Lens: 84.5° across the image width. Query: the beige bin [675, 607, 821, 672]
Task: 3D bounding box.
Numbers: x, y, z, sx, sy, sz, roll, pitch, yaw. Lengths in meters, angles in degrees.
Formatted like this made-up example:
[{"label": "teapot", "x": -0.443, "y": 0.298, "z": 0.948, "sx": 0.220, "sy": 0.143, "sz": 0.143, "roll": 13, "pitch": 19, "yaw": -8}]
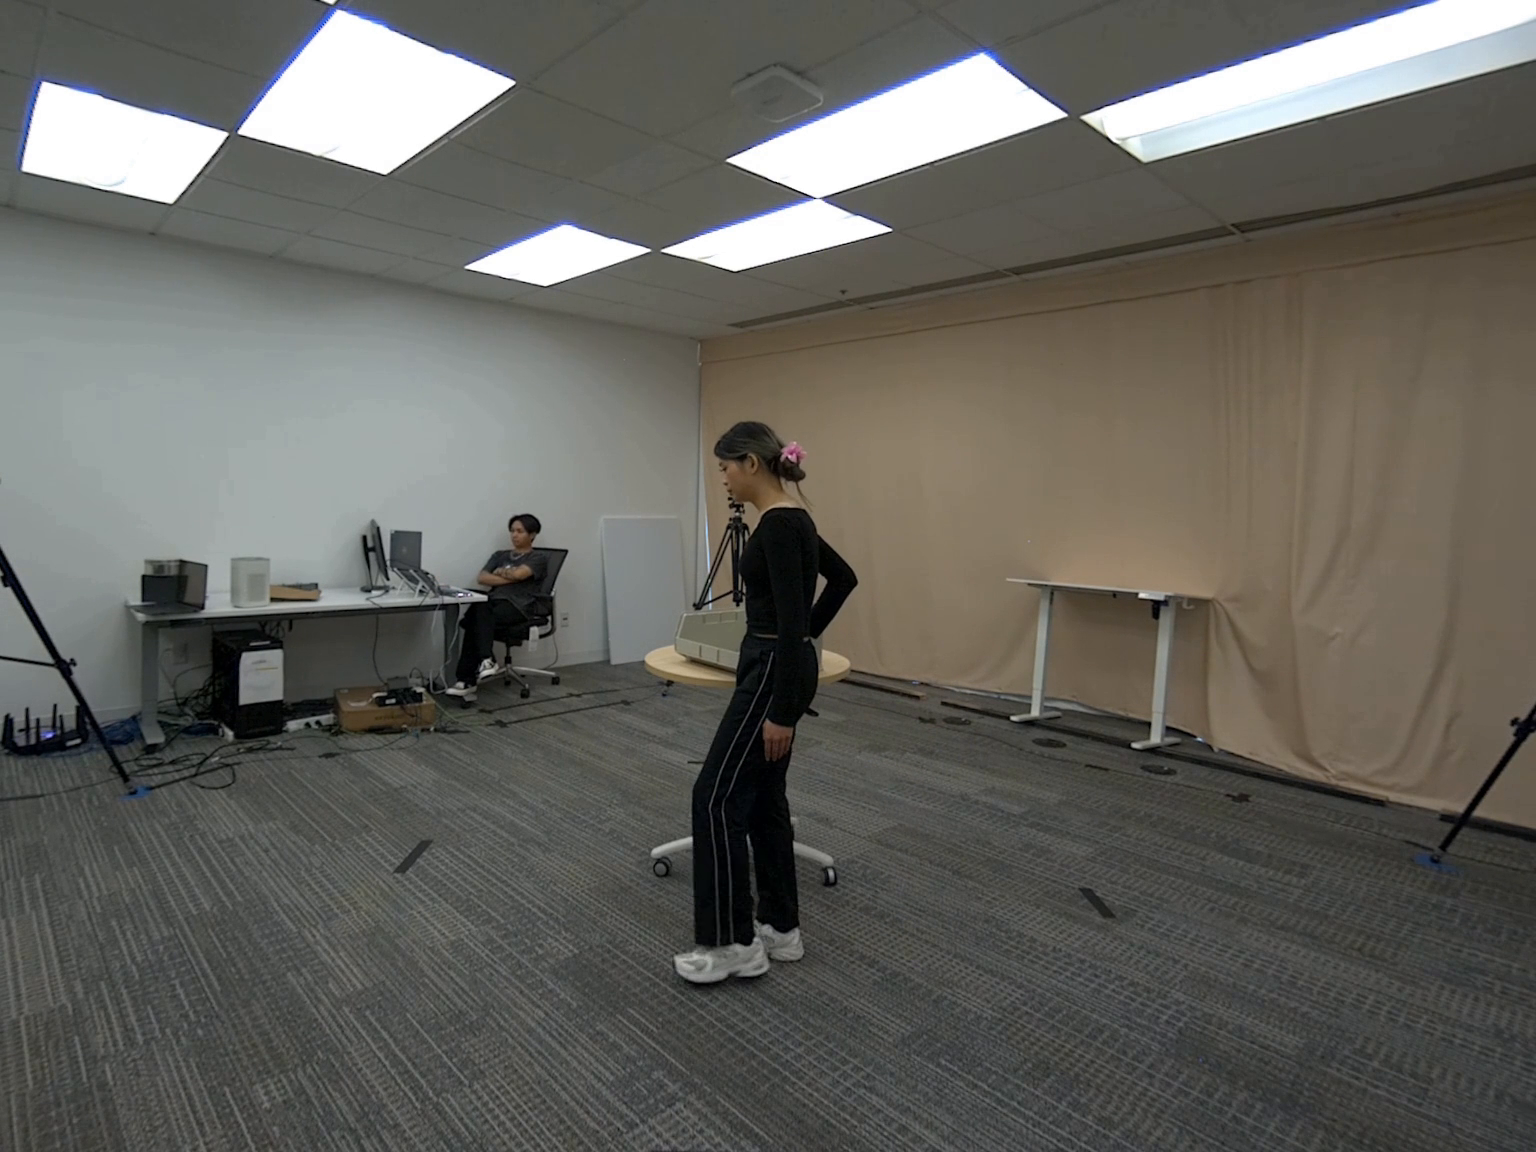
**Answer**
[{"label": "beige bin", "x": -0.072, "y": 0.236, "z": 3.021, "sx": 0.368, "sy": 0.188, "sz": 0.433, "roll": -1, "pitch": 4, "yaw": -40}]
